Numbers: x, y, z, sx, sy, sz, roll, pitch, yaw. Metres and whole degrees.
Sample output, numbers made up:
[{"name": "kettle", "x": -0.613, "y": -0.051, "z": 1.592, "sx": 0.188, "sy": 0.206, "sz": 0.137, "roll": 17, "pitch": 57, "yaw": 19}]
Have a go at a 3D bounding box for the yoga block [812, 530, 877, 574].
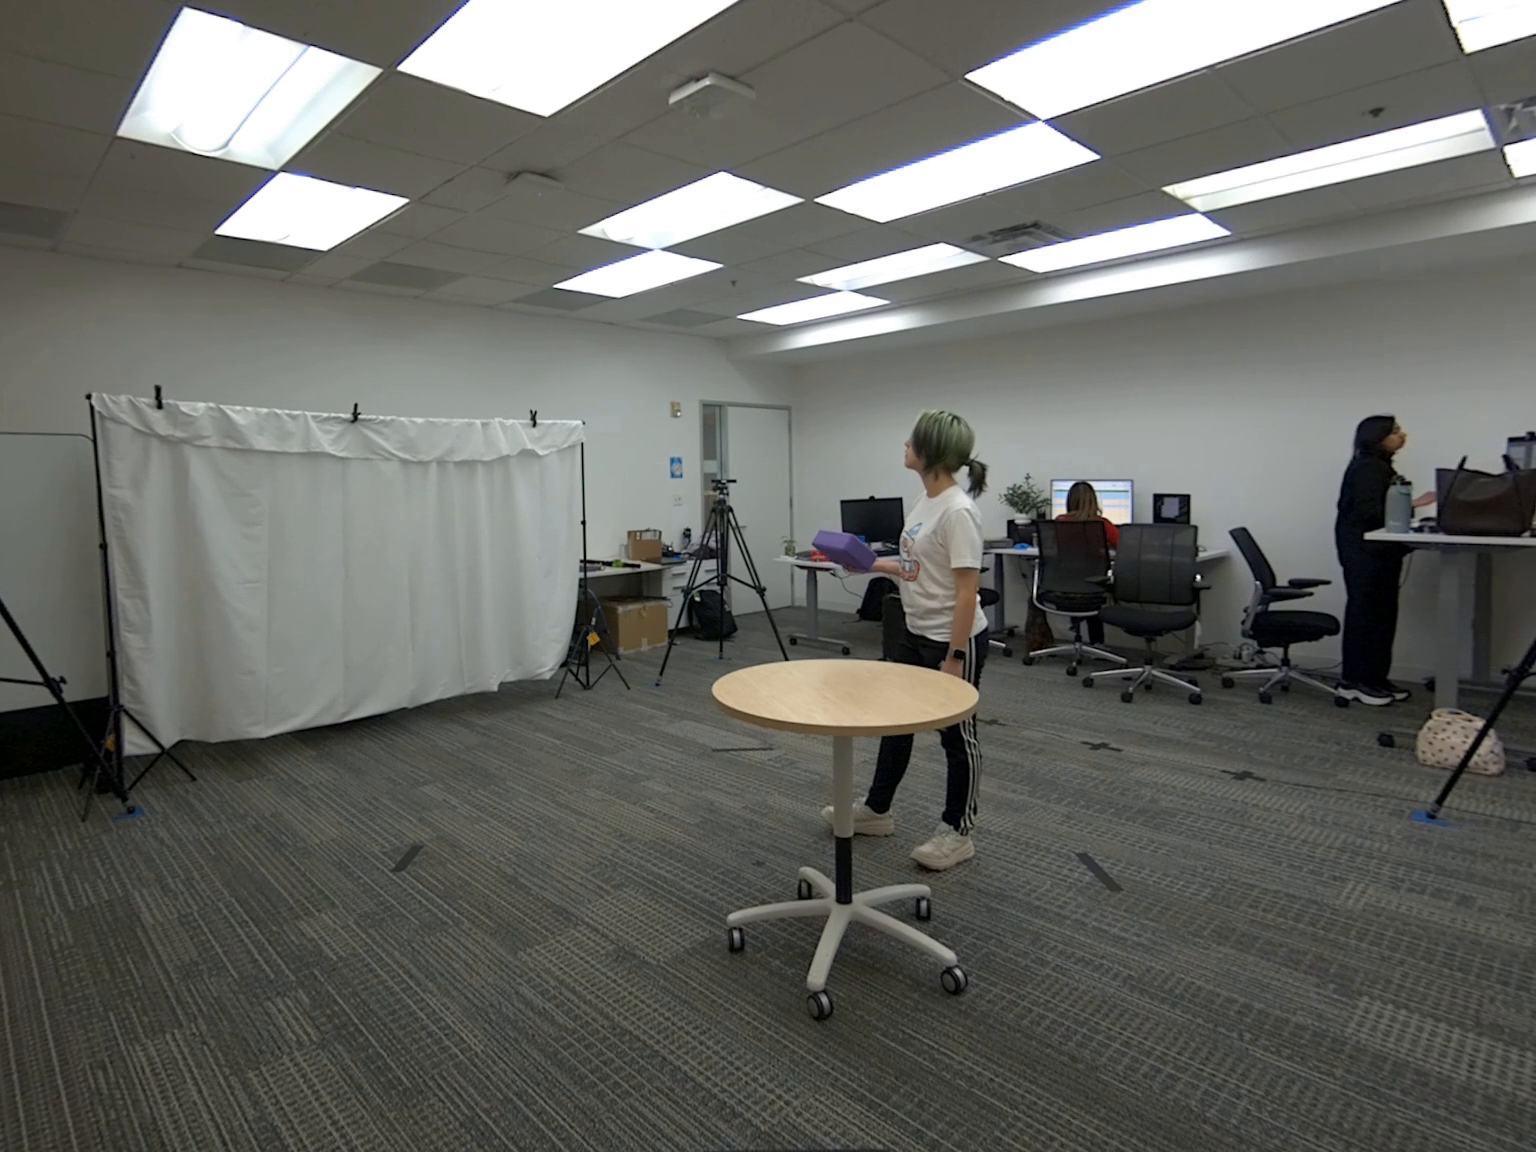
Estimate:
[{"name": "yoga block", "x": 0.293, "y": -0.099, "z": 3.245, "sx": 0.144, "sy": 0.076, "sz": 0.236, "roll": 39, "pitch": -12, "yaw": -27}]
